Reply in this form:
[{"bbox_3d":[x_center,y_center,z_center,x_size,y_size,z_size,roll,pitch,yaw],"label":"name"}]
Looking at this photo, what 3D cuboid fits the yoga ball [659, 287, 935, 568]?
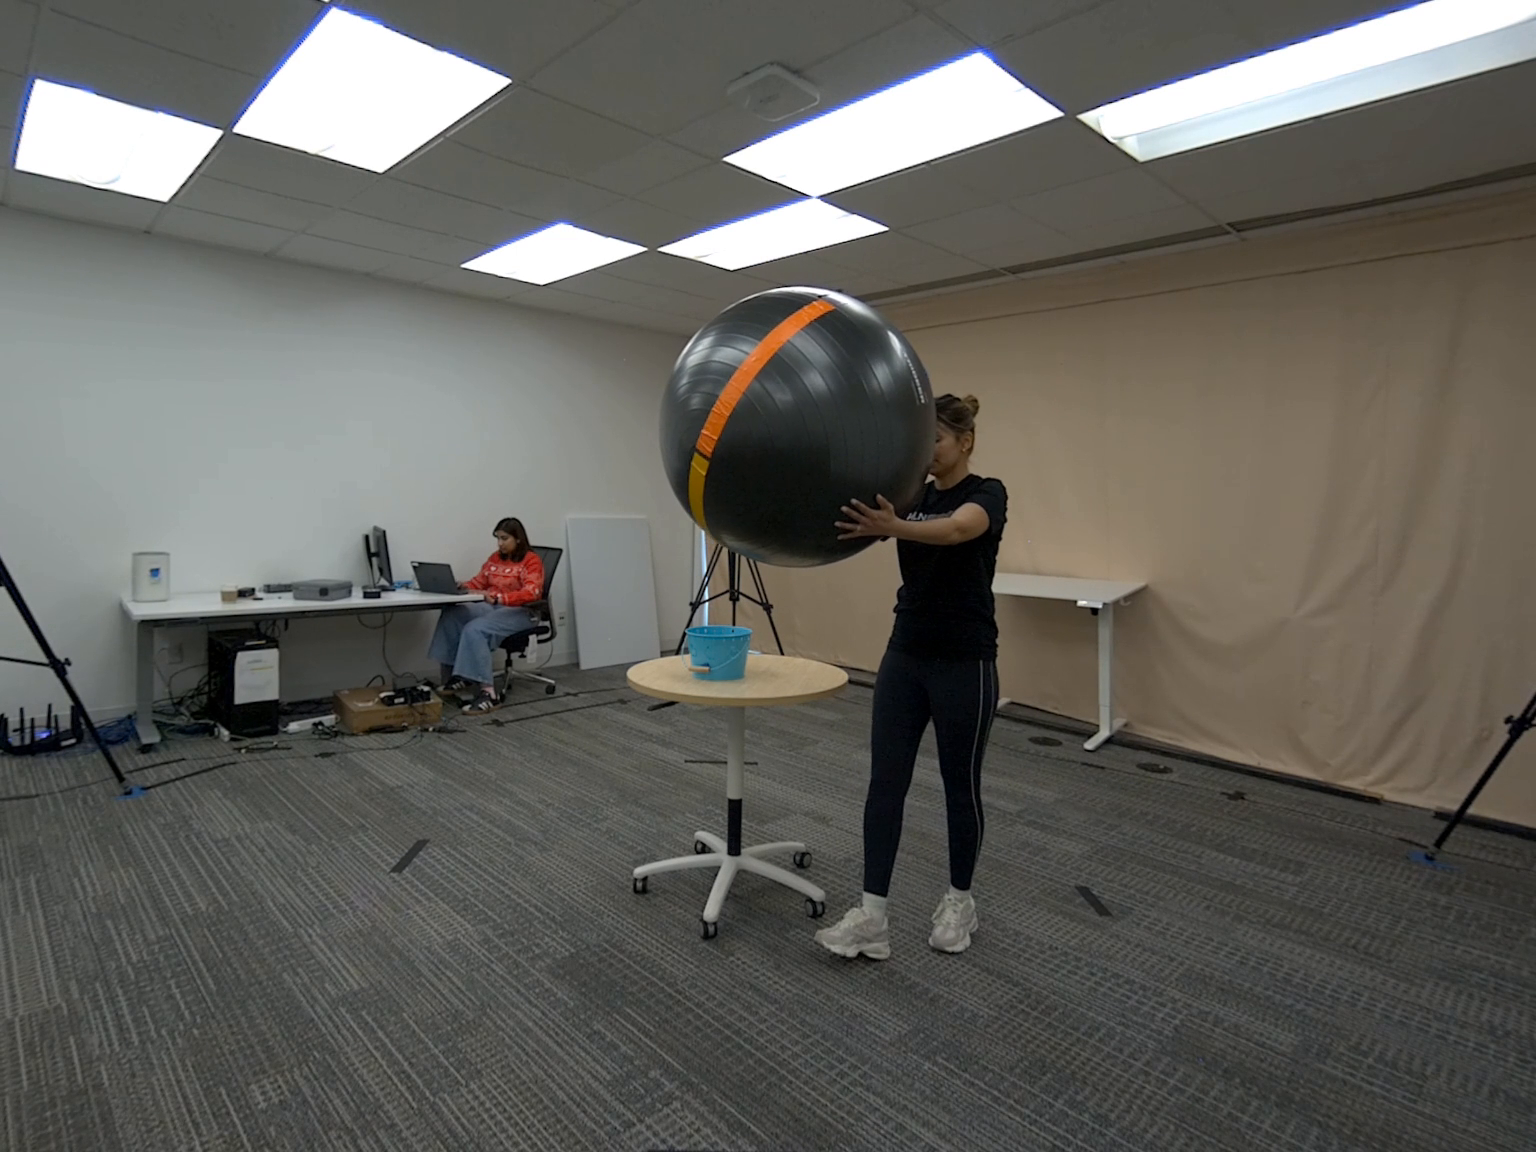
[{"bbox_3d":[0.072,-0.396,2.320,0.757,0.756,0.761,1,4,-1],"label":"yoga ball"}]
